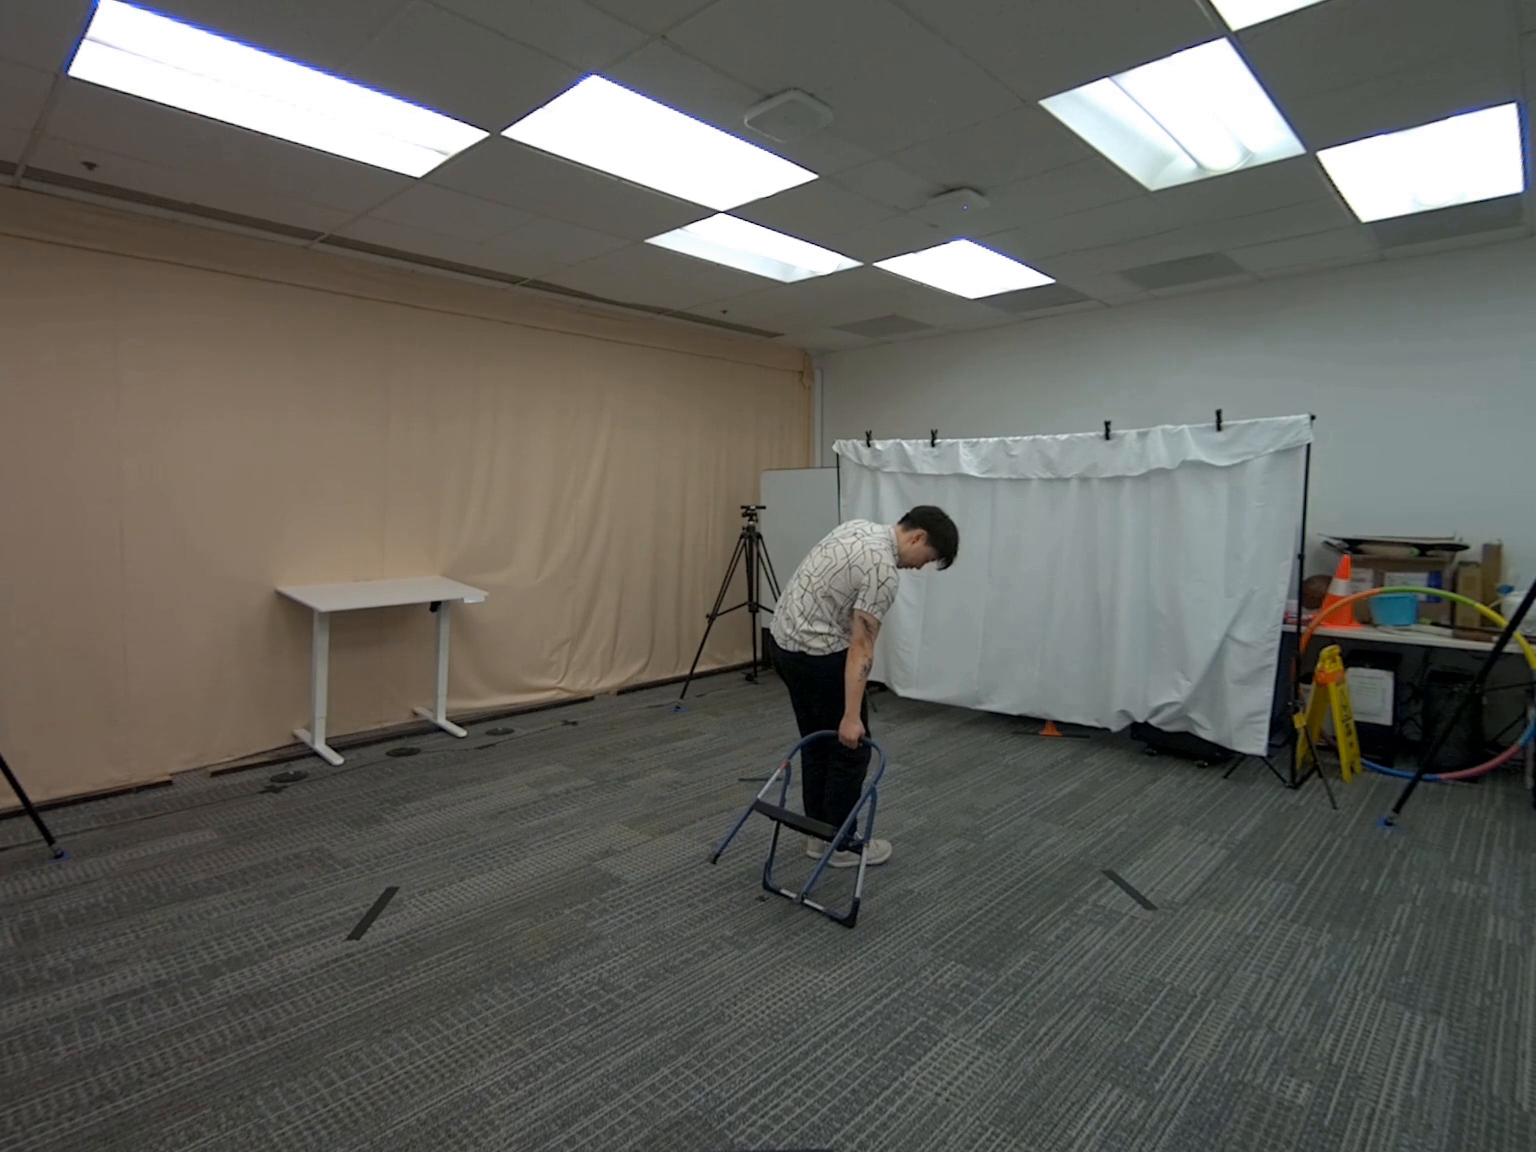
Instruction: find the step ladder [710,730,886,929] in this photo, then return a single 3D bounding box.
[{"bbox_3d":[0.150,0.810,2.917,0.445,0.607,0.337,5,-26,45],"label":"step ladder"}]
